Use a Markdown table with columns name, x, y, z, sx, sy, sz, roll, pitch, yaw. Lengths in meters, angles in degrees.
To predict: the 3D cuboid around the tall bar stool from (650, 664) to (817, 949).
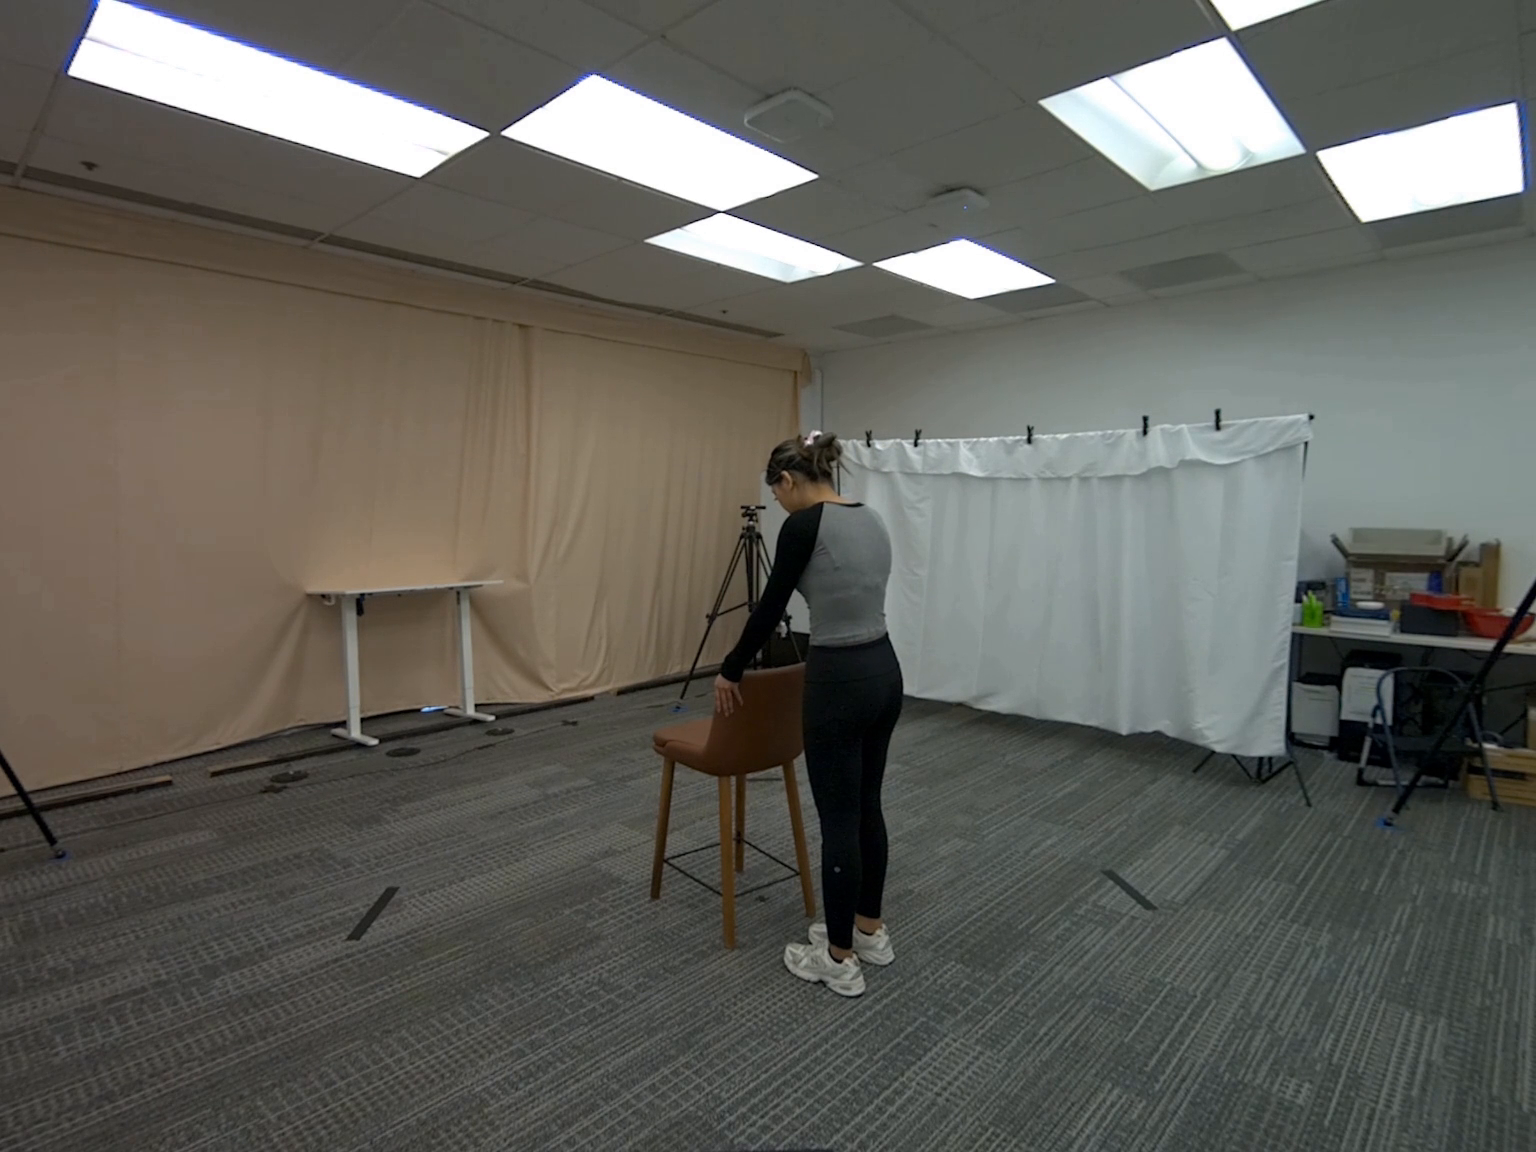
| name | x | y | z | sx | sy | sz | roll | pitch | yaw |
| --- | --- | --- | --- | --- | --- | --- | --- | --- | --- |
| tall bar stool | -0.114 | 0.712 | 2.897 | 0.443 | 0.887 | 0.483 | -2 | 6 | -38 |
